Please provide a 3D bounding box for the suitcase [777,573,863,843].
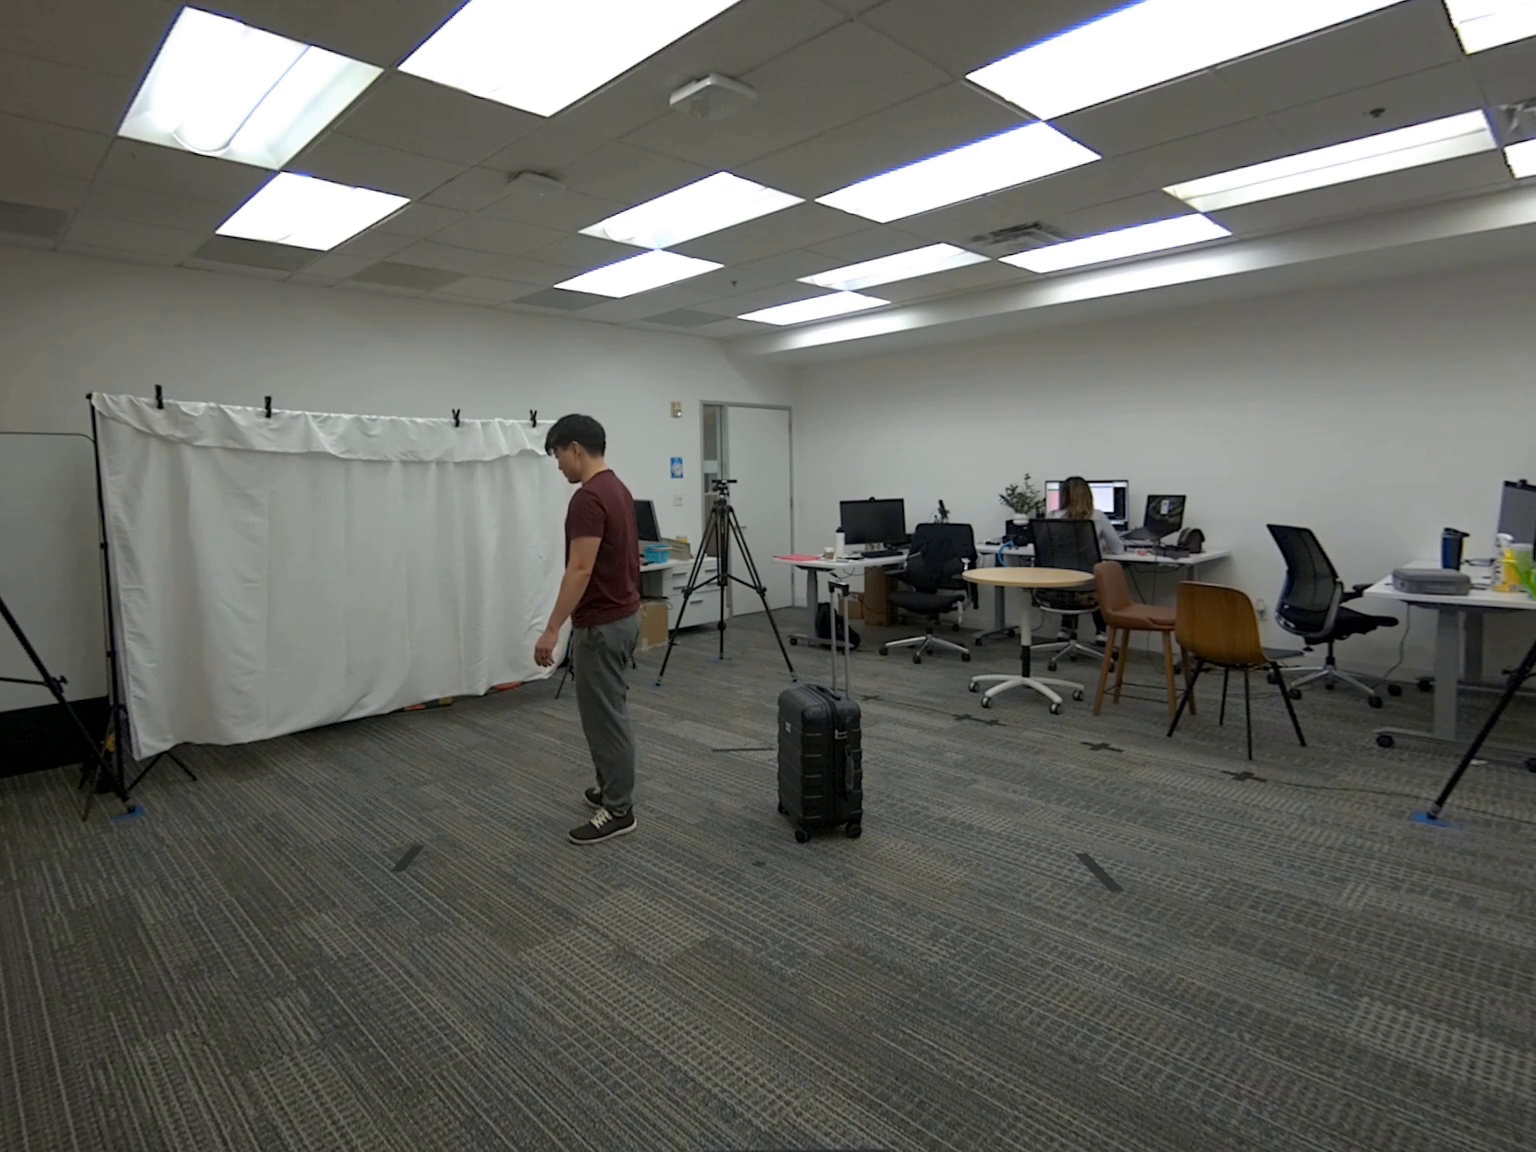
[{"bbox_3d":[0.205,0.533,3.415,0.254,0.976,0.389,-1,3,-13],"label":"suitcase"}]
